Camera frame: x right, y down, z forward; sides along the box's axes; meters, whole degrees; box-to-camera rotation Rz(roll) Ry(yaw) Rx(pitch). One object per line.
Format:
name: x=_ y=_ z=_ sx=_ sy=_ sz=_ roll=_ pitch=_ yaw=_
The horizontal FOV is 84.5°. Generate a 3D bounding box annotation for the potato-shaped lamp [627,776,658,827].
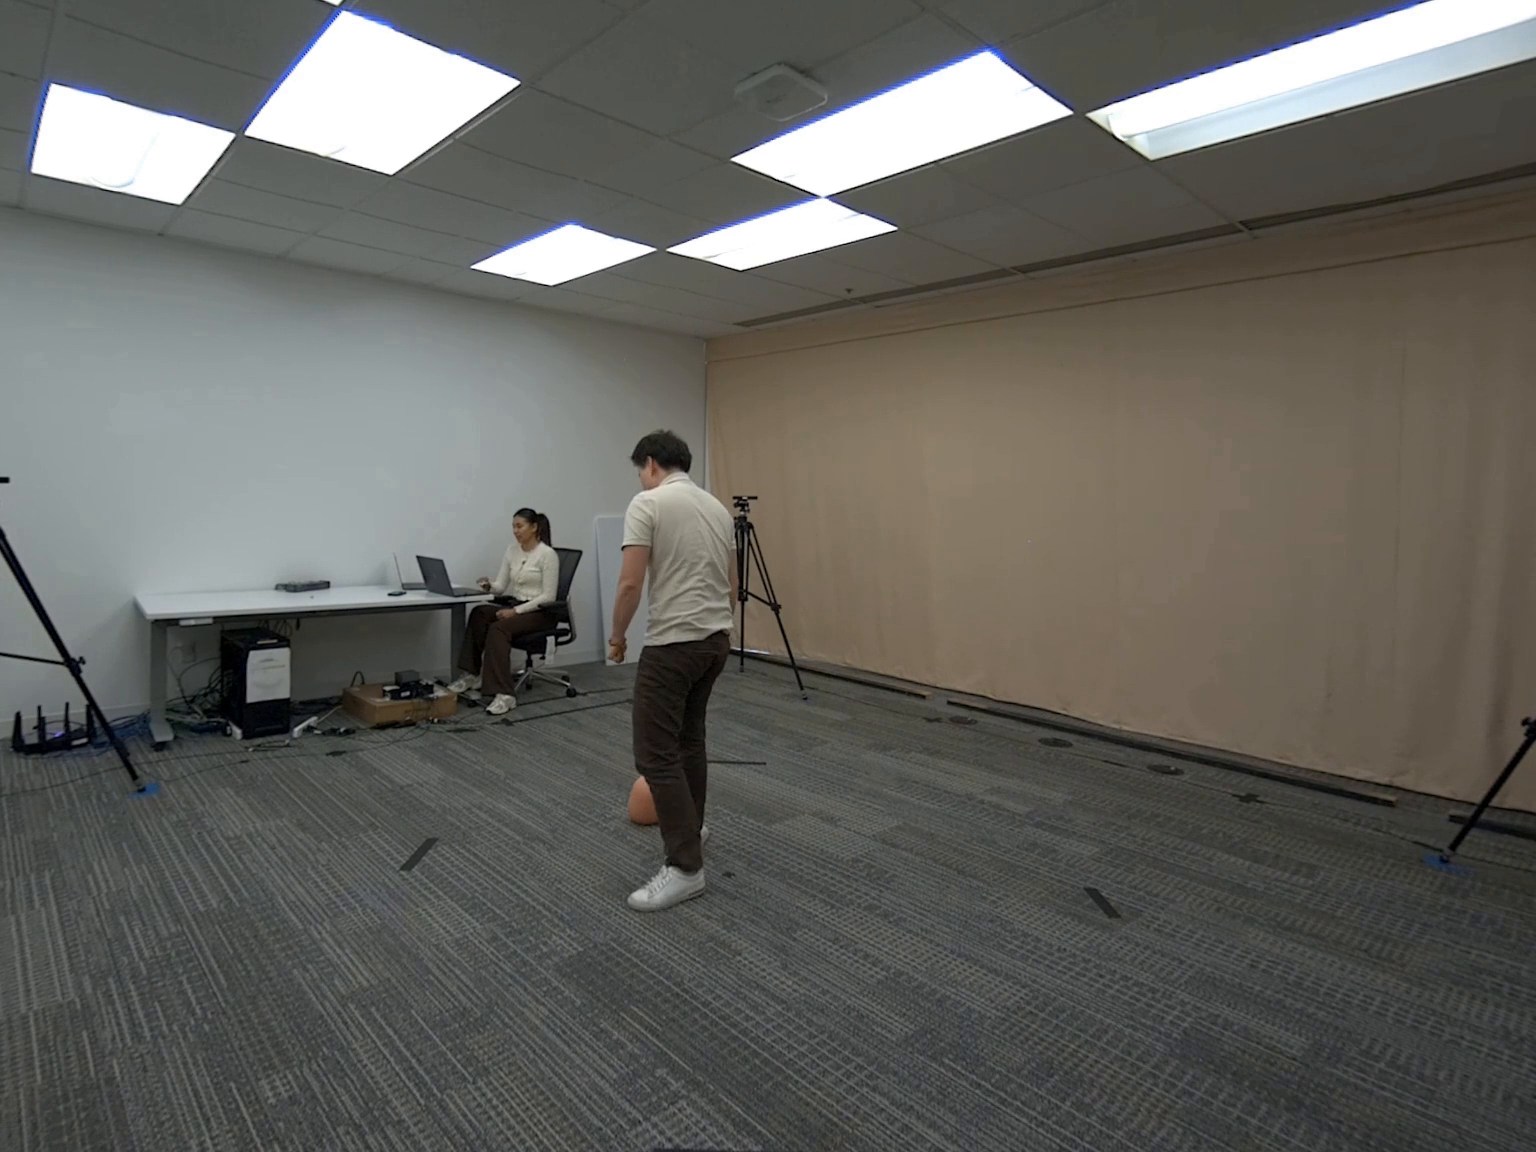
potato-shaped lamp: x=-0.526 y=0.948 z=3.596 sx=0.162 sy=0.197 sz=0.175 roll=0 pitch=8 yaw=-18
